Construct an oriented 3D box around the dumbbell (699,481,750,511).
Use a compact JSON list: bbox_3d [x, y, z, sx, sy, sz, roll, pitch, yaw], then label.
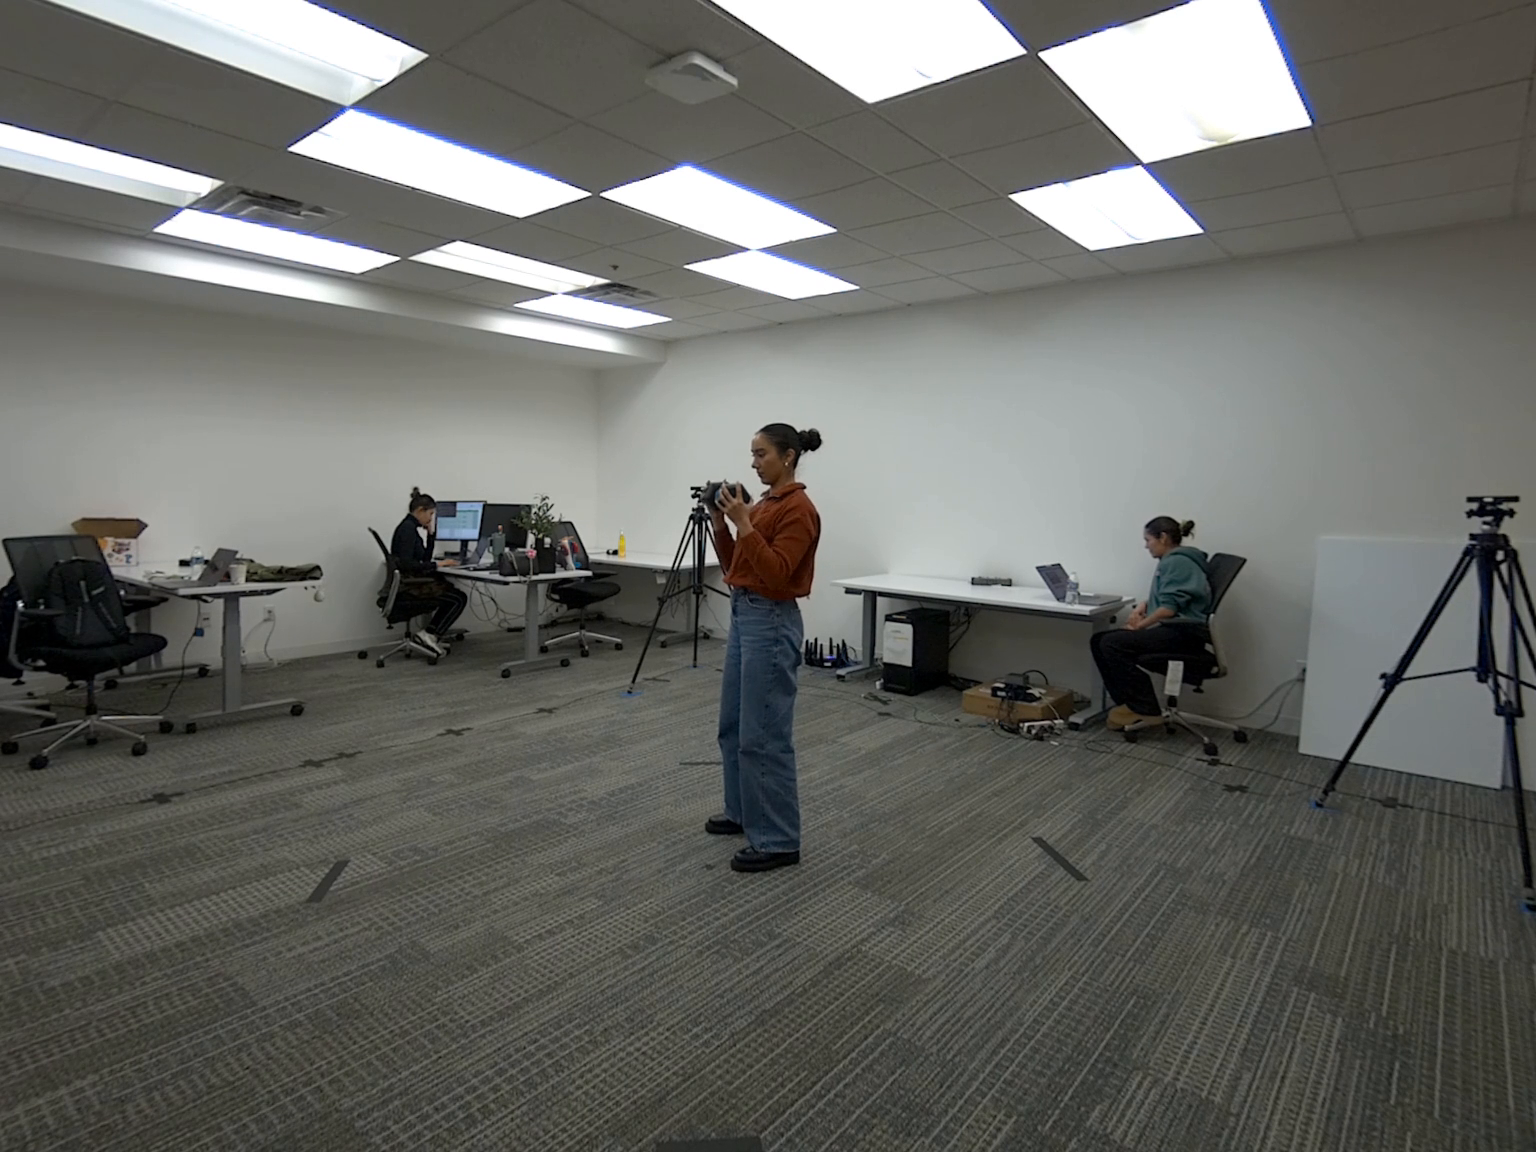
[{"bbox_3d":[-0.160,-0.318,3.221,0.106,0.123,0.300,28,-1,-18],"label":"dumbbell"}]
